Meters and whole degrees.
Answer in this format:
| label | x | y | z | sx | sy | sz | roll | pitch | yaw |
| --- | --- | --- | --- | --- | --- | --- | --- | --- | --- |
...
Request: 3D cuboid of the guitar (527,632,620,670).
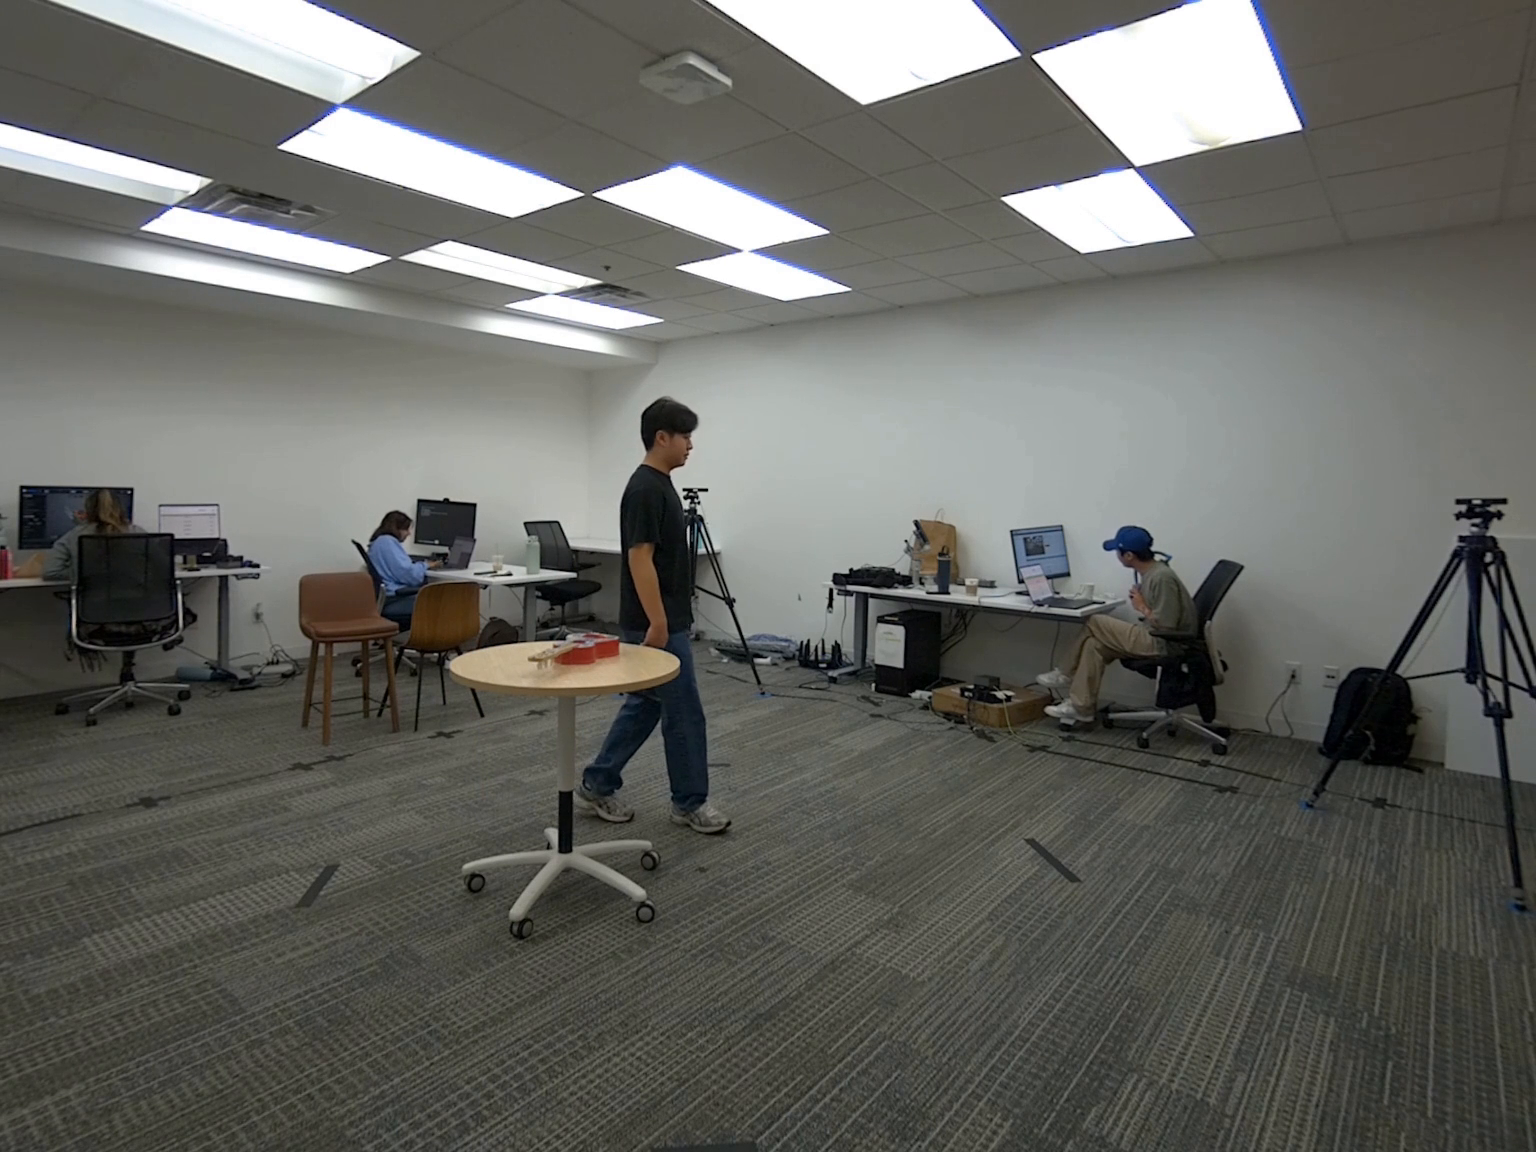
| label | x | y | z | sx | sy | sz | roll | pitch | yaw |
| --- | --- | --- | --- | --- | --- | --- | --- | --- | --- |
| guitar | -0.713 | 0.257 | 2.861 | 0.198 | 0.070 | 0.487 | 4 | 6 | 23 |
